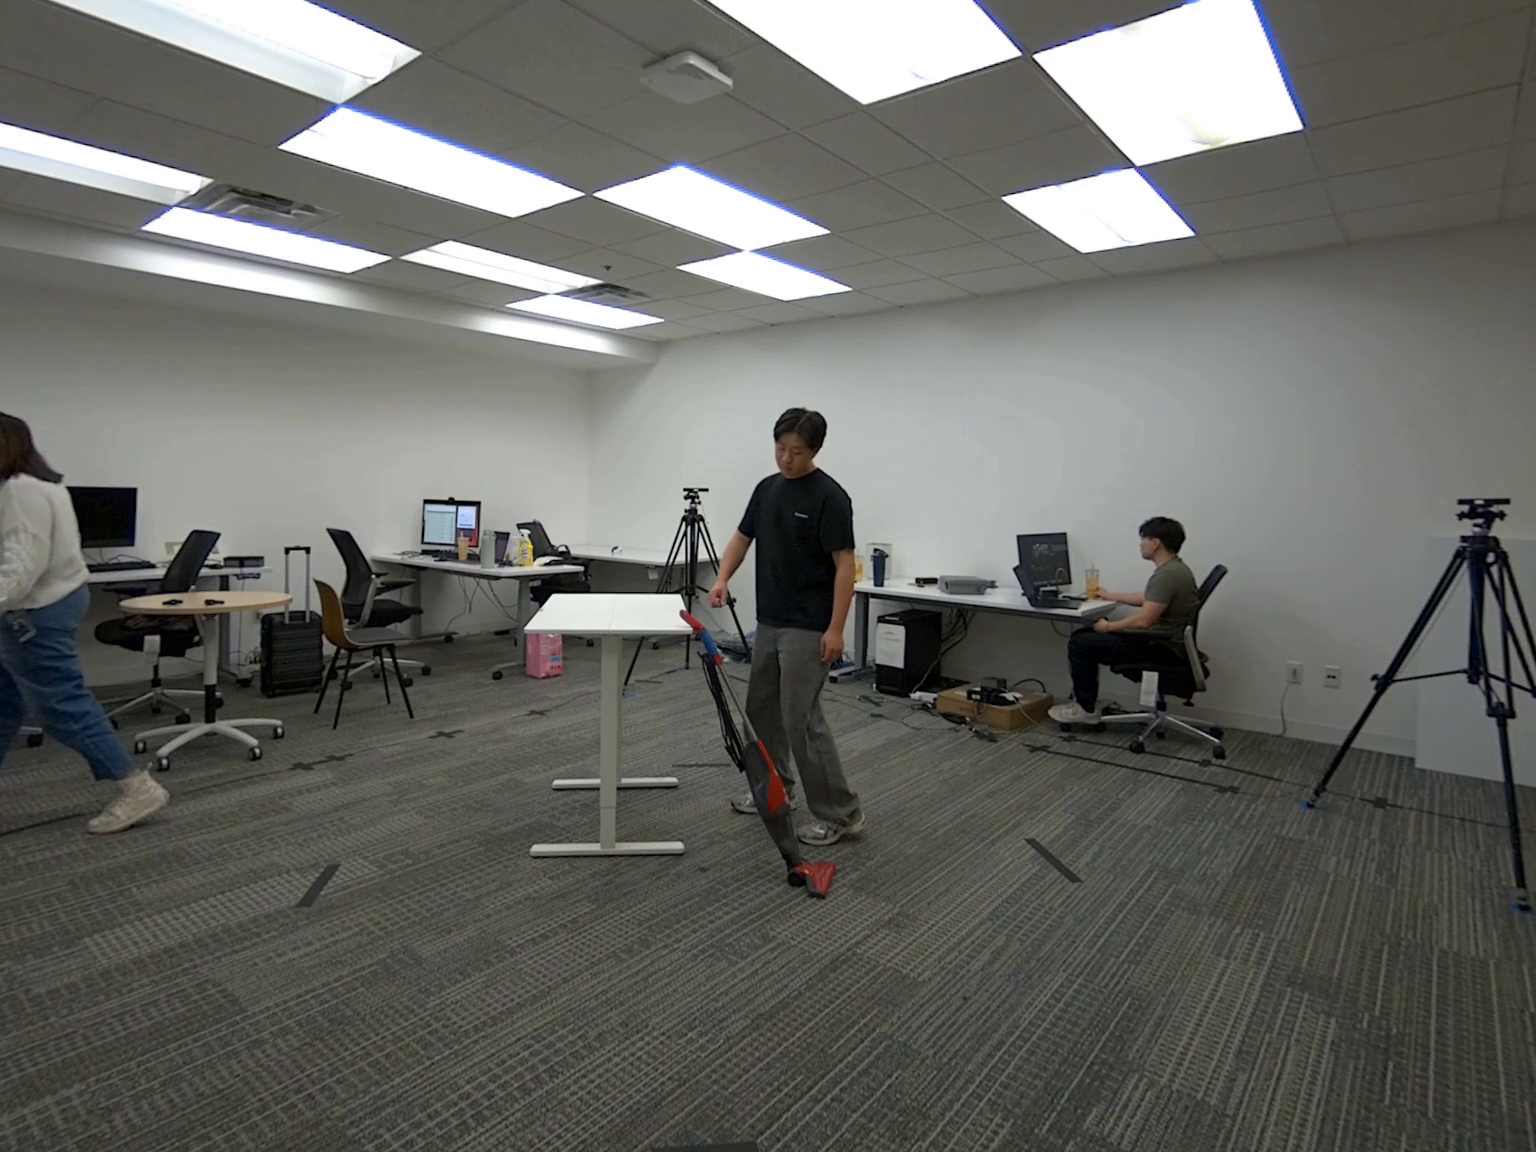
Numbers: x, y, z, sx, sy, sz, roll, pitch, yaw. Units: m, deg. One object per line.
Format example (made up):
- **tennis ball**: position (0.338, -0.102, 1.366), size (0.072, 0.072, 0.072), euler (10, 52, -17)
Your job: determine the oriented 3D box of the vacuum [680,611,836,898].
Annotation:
- **vacuum**: position (-0.086, 0.609, 3.082), size (0.145, 1.059, 0.248), euler (-29, -7, 22)
